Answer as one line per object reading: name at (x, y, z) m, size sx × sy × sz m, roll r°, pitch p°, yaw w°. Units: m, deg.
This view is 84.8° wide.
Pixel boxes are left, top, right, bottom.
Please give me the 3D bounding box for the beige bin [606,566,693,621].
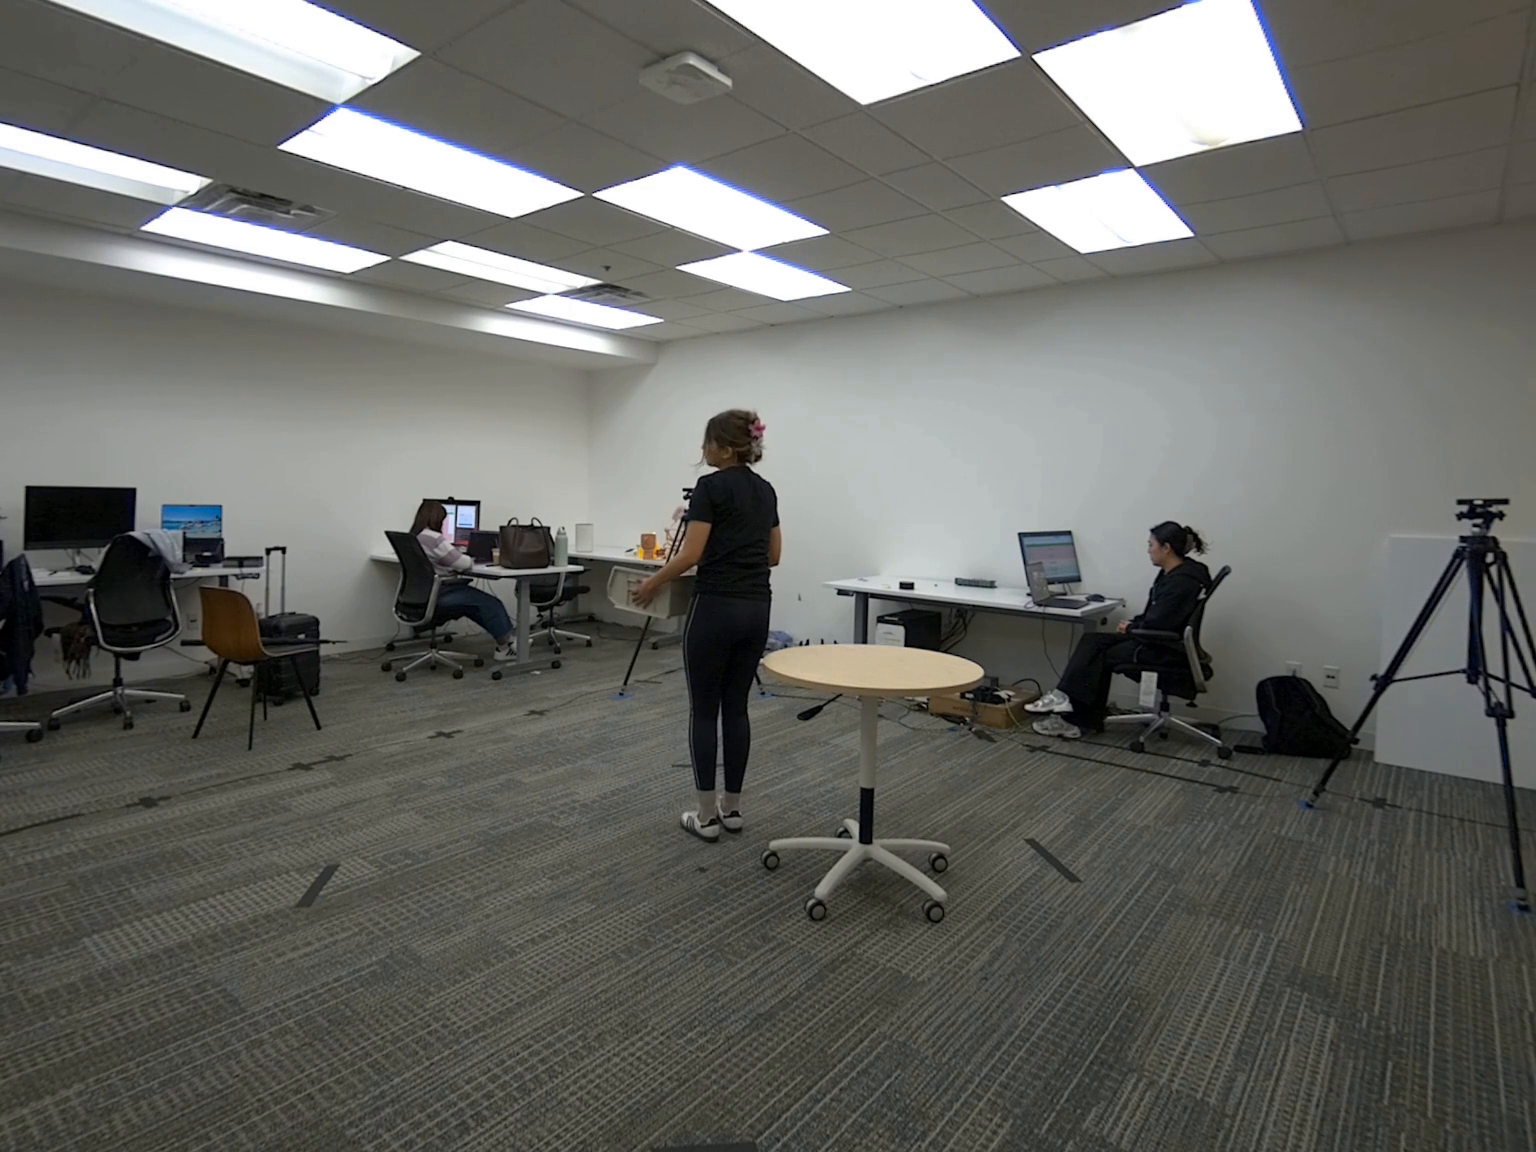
beige bin at (-0.443, 0.058, 3.729) m, size 0.391 × 0.188 × 0.410 m, roll 10°, pitch 9°, yaw 38°
